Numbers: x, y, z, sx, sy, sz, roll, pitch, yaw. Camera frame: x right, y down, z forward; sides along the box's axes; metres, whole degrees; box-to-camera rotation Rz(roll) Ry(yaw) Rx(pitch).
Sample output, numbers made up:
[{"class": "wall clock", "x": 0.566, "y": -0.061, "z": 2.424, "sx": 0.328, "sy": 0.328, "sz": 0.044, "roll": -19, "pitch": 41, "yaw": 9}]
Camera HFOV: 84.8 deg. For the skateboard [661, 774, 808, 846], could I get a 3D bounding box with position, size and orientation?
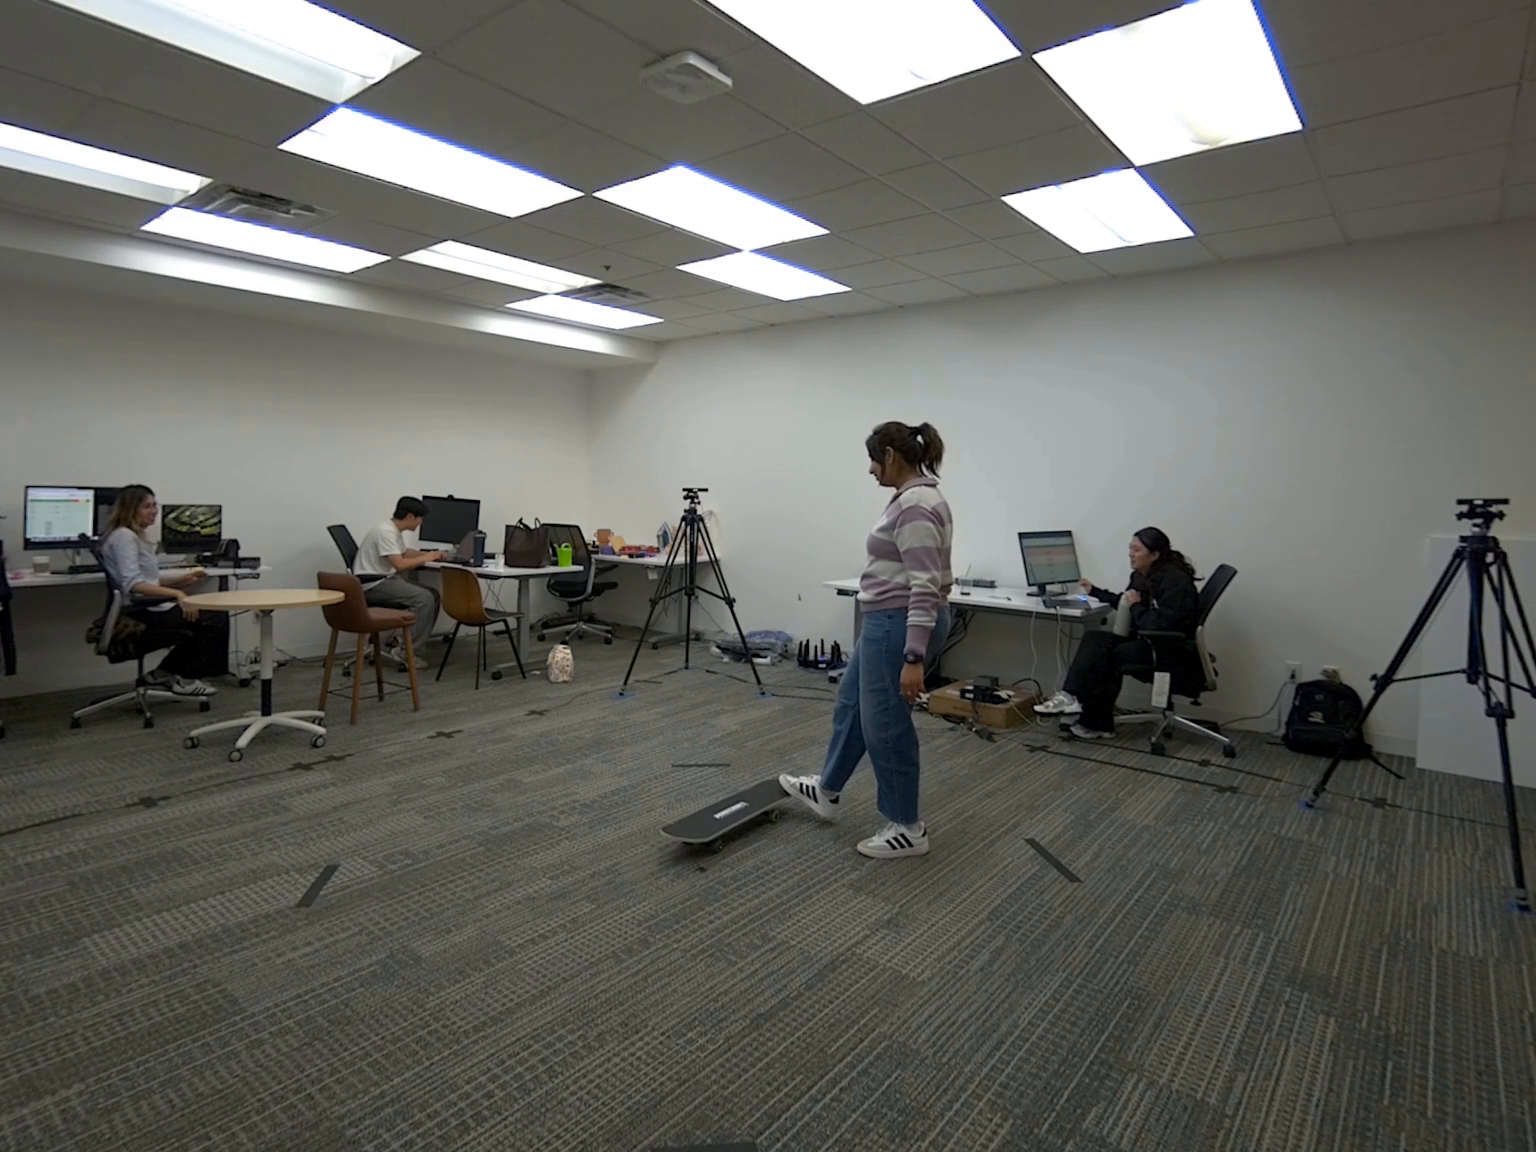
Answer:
[{"class": "skateboard", "x": -0.158, "y": 0.984, "z": 3.461, "sx": 0.200, "sy": 0.110, "sz": 0.764, "roll": 5, "pitch": 7, "yaw": 34}]
